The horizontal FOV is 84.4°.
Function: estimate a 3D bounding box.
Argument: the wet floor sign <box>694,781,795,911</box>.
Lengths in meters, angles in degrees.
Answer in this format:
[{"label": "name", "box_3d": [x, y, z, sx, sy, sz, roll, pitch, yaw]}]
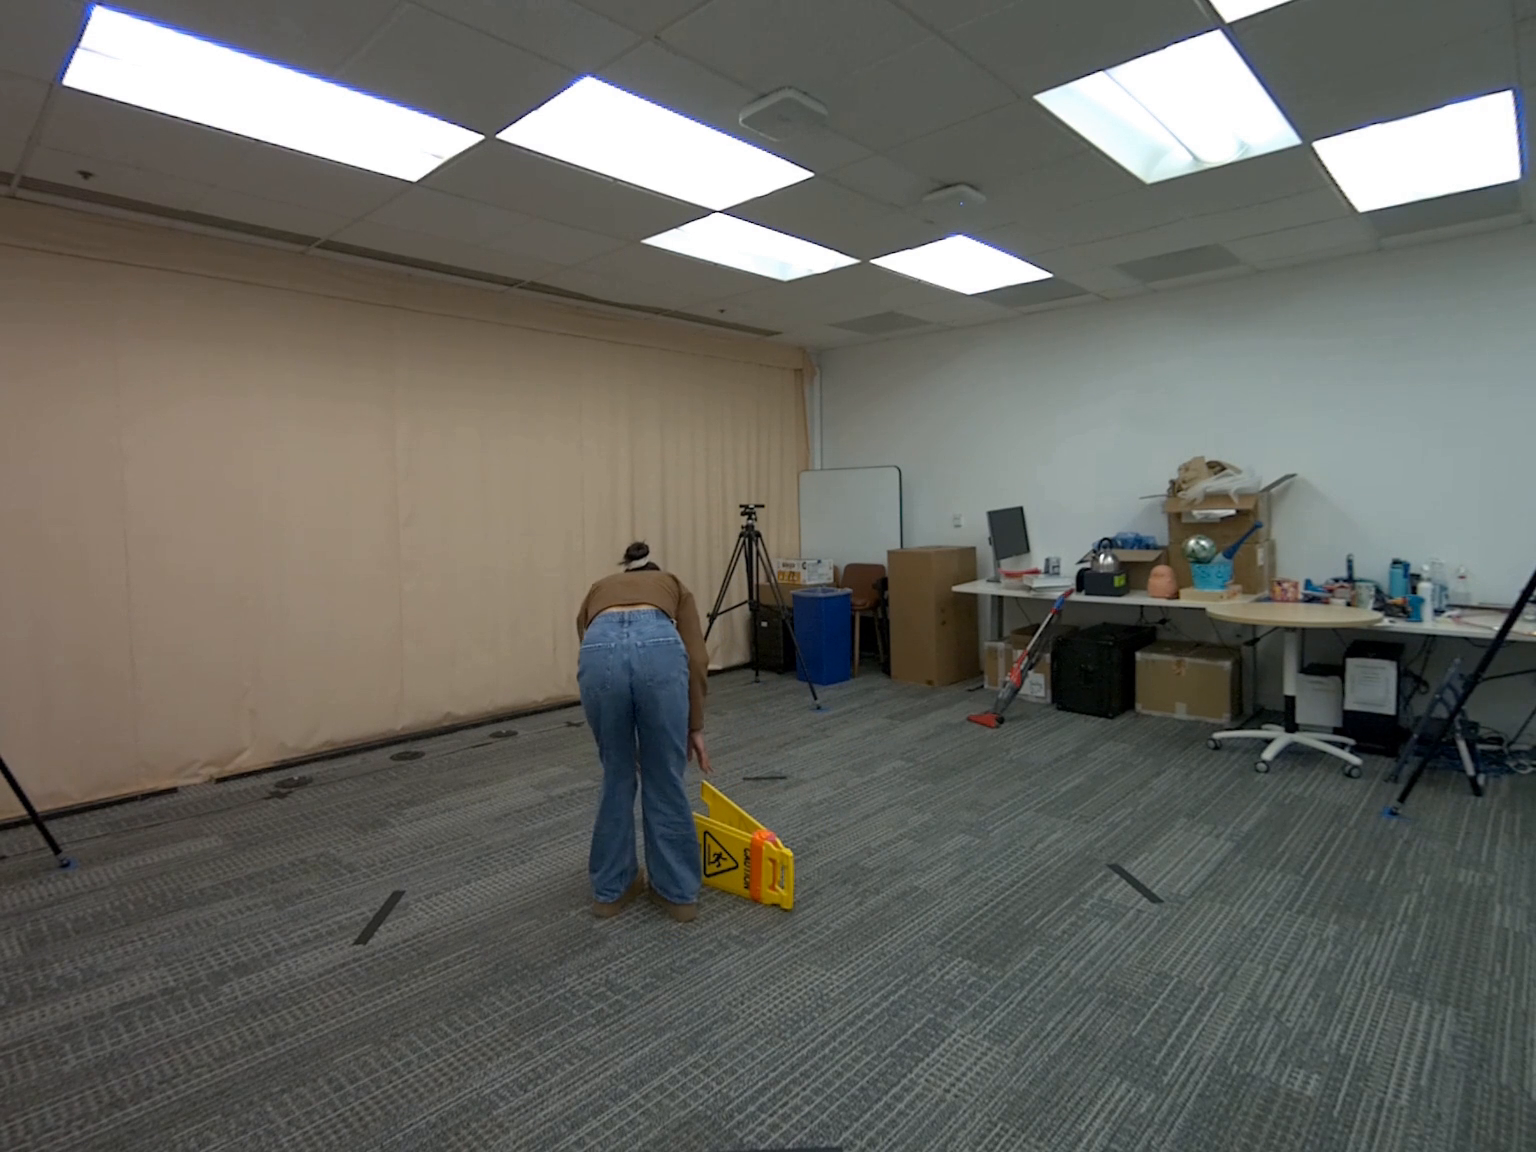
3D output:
[{"label": "wet floor sign", "box_3d": [-0.139, 1.006, 3.105, 0.281, 0.281, 0.668, -4, 8, -42]}]
